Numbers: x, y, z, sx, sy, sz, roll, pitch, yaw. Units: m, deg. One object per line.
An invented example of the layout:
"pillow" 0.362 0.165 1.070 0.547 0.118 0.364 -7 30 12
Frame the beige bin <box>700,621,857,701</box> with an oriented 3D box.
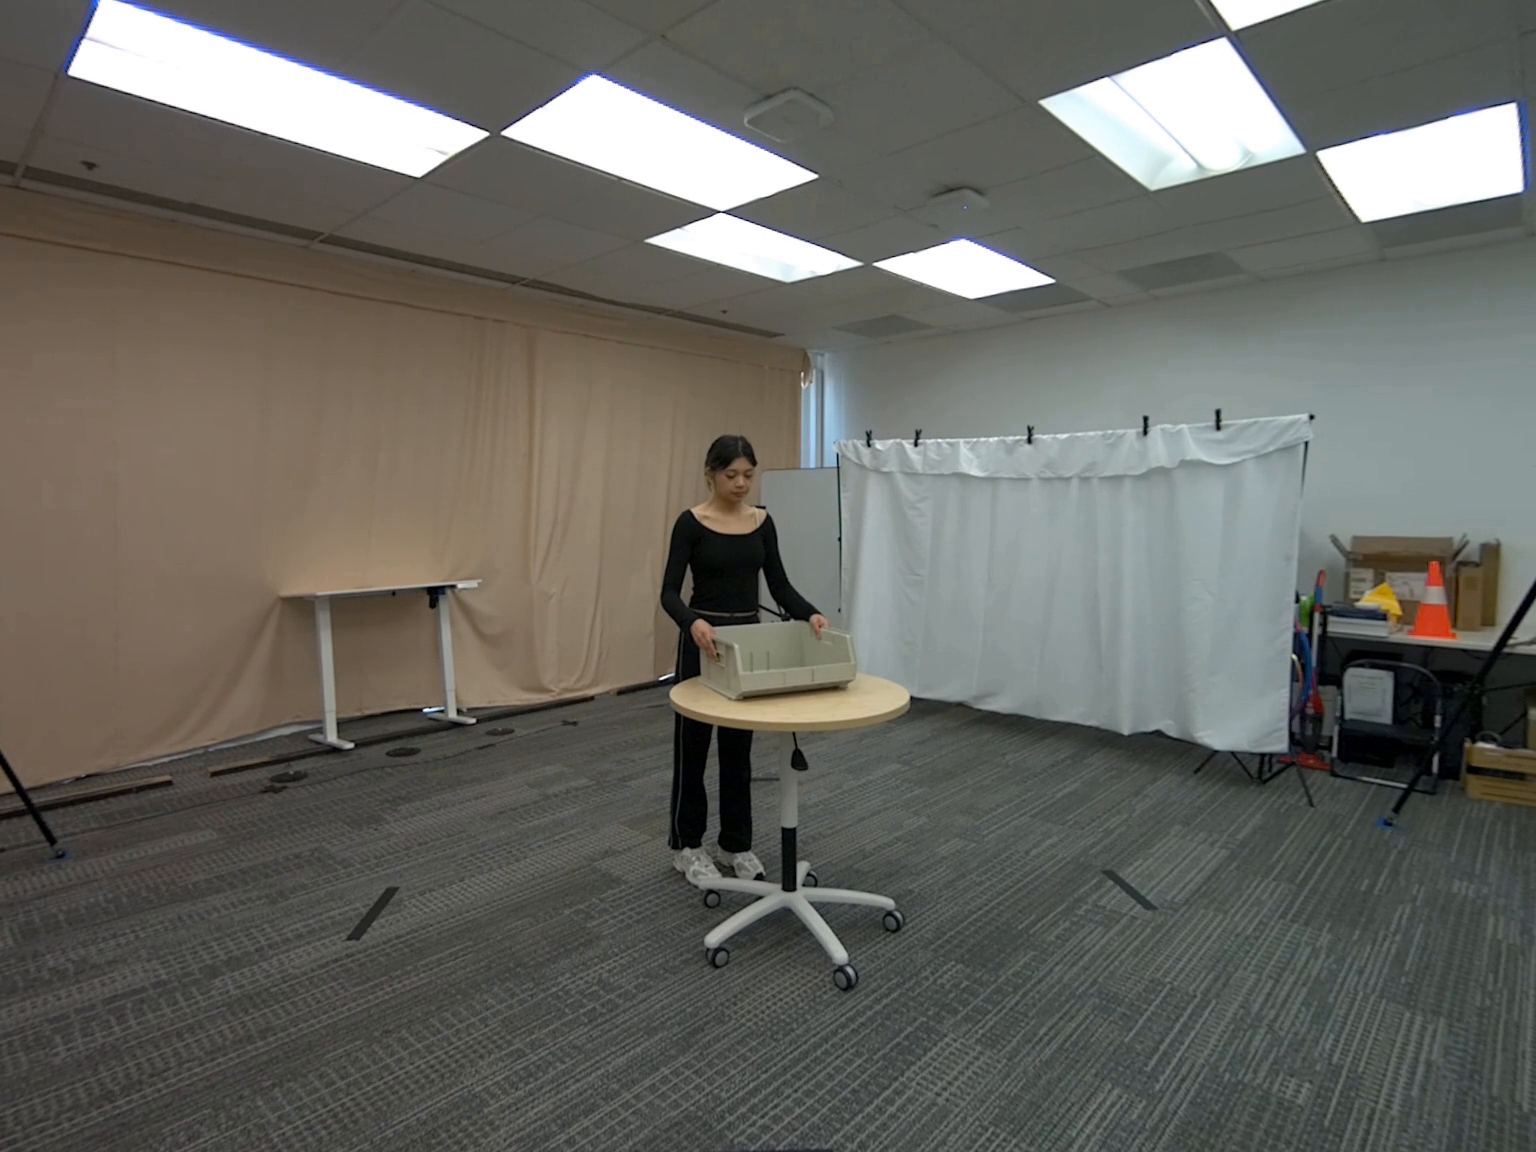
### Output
"beige bin" 0.025 0.270 2.783 0.413 0.188 0.386 -4 4 -24
